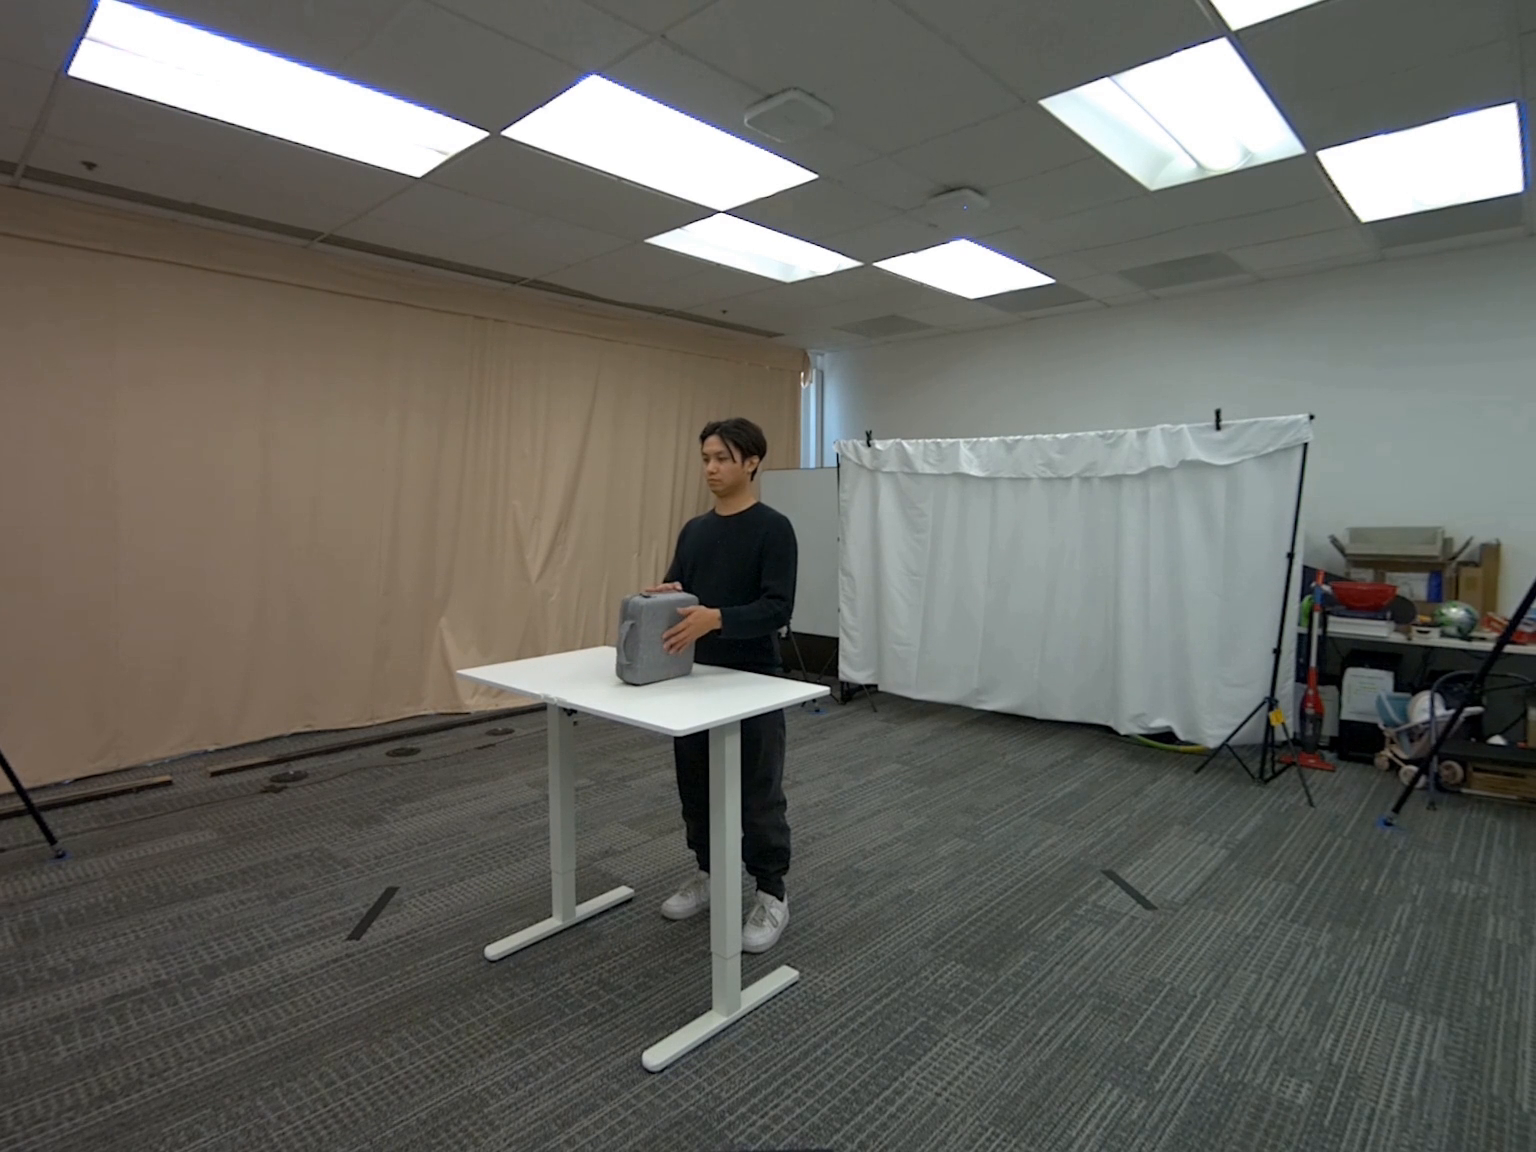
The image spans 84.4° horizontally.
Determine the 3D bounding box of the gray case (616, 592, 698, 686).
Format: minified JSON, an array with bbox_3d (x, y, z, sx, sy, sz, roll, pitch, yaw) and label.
[{"bbox_3d":[-0.329,0.178,2.475,0.108,0.256,0.253,10,9,37],"label":"gray case"}]
